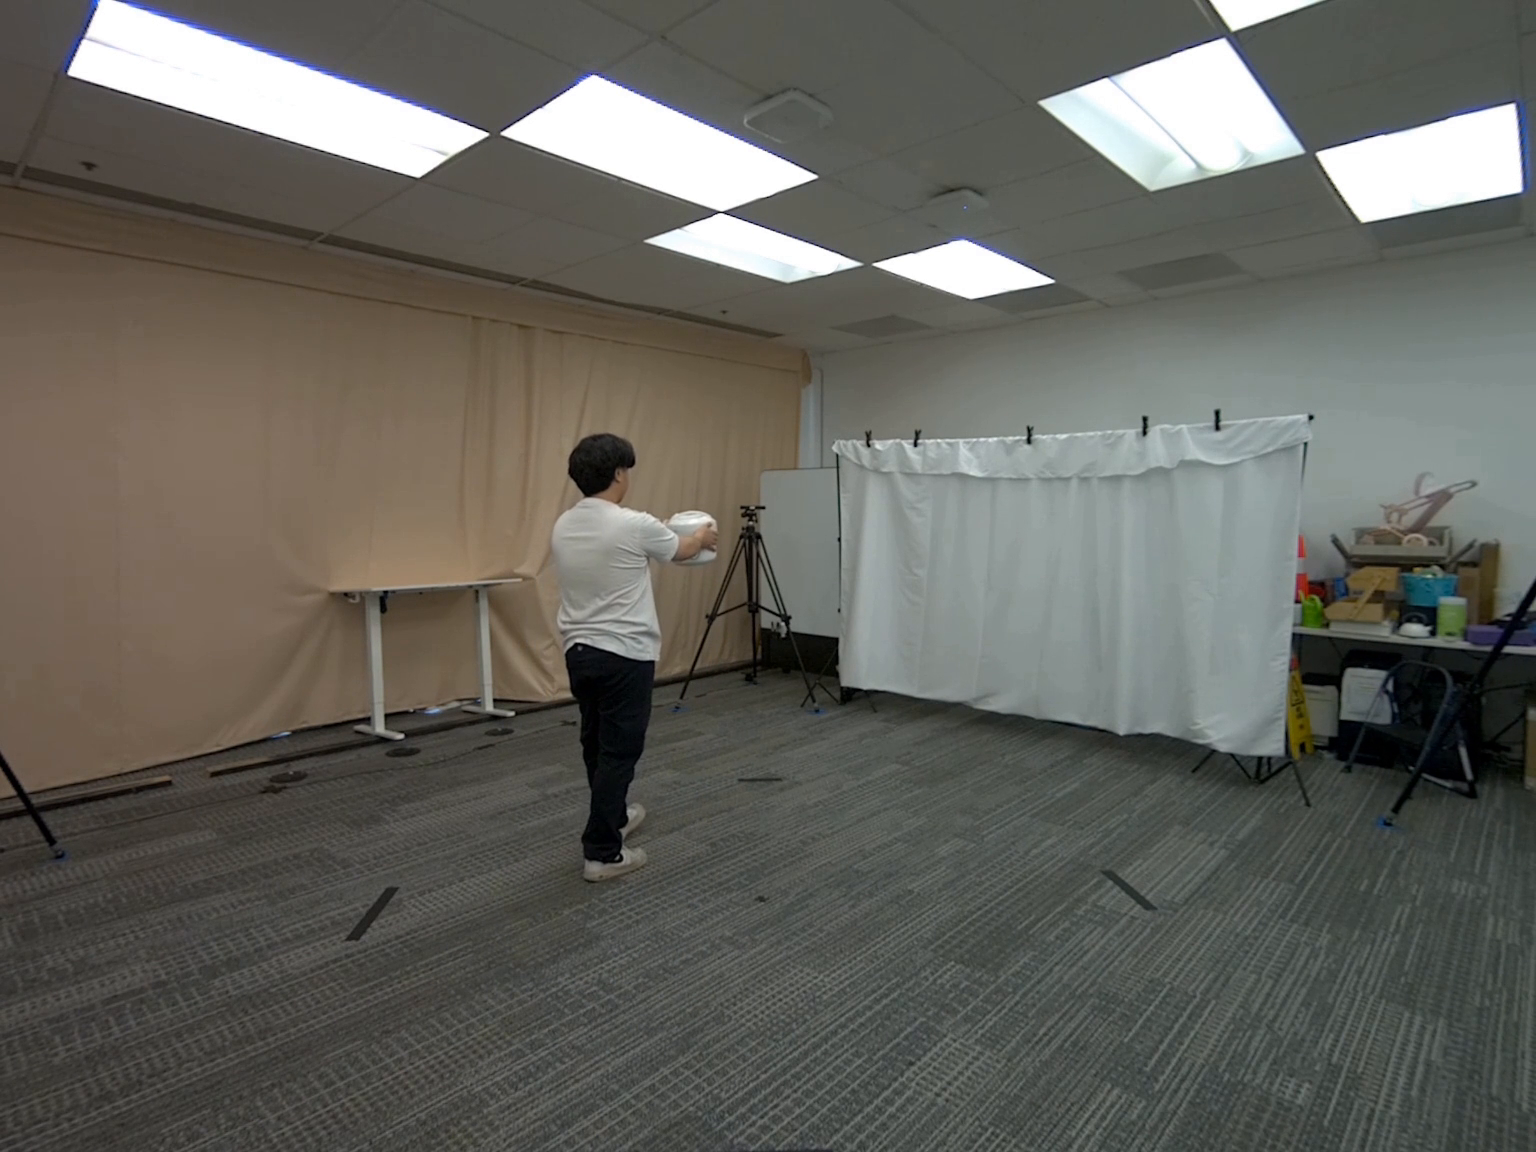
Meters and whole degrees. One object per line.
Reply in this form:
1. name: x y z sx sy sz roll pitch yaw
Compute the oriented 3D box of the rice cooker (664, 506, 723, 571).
1. rice cooker: -0.328 -0.171 3.709 0.220 0.231 0.219 -6 9 -3
